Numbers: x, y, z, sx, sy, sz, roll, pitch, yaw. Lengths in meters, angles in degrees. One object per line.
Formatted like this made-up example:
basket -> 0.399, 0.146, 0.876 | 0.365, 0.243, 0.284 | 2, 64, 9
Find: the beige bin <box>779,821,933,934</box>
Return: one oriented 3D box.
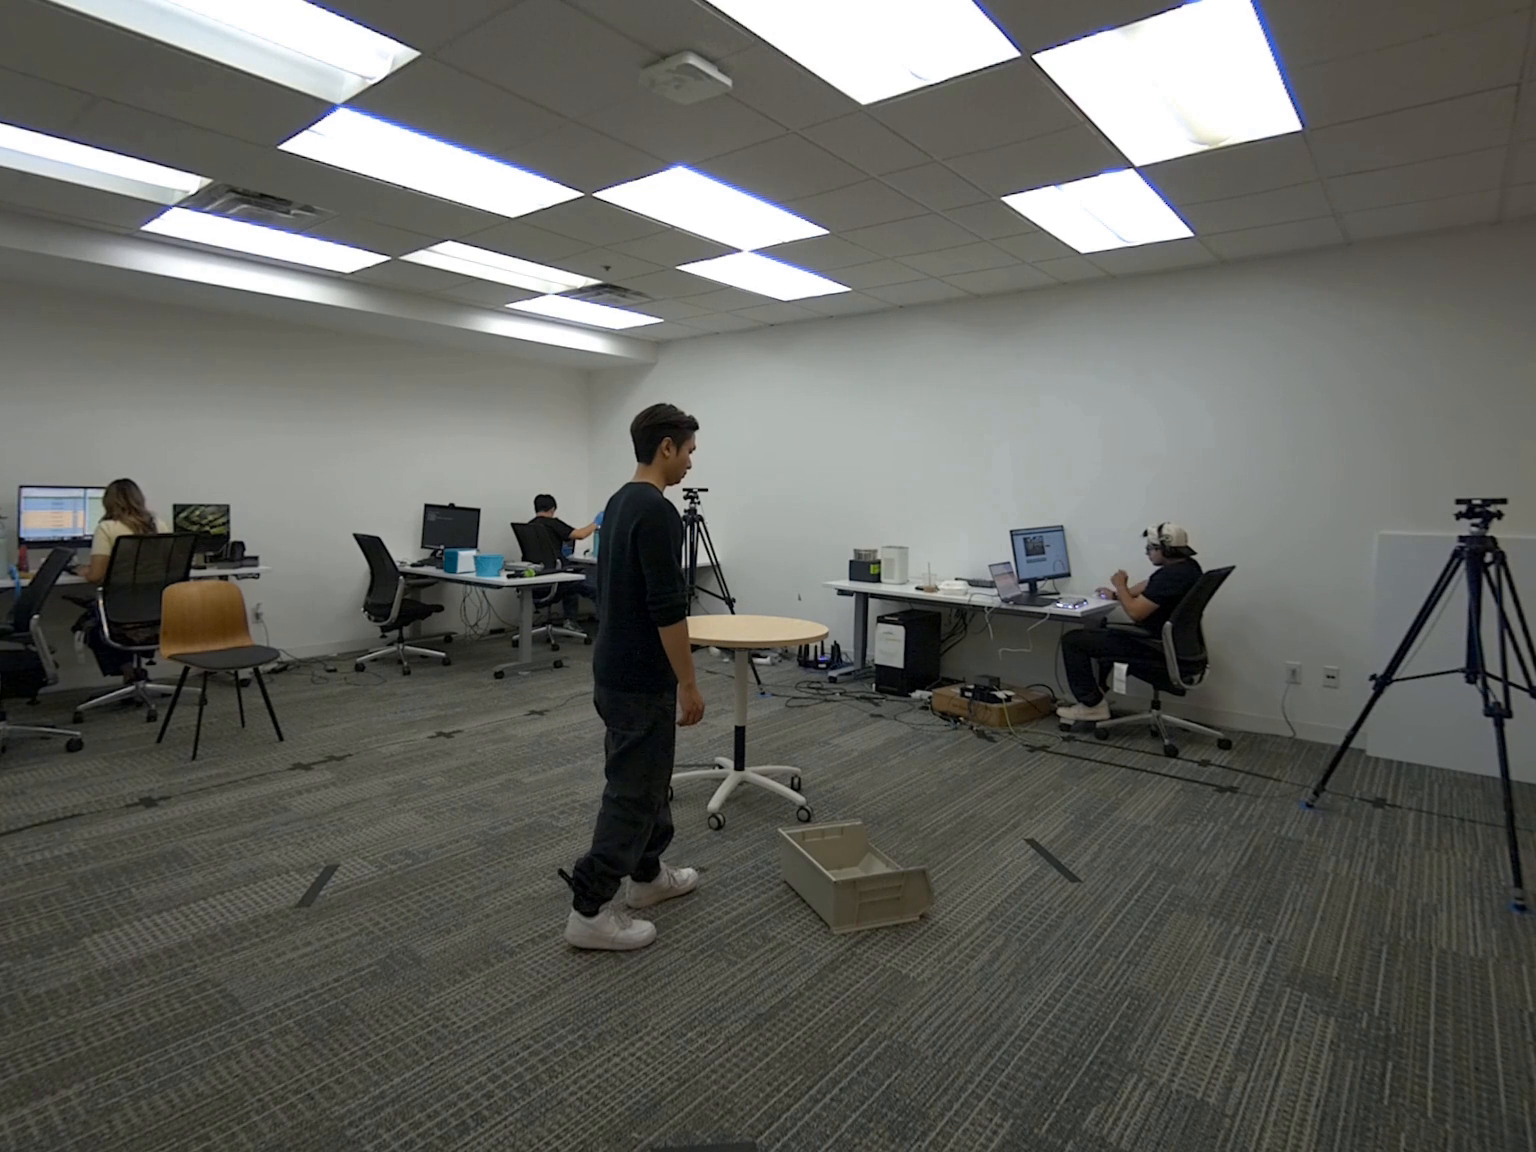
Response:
beige bin -> 0.288, 1.015, 2.914 | 0.369, 0.188, 0.433 | -1, 7, -22
